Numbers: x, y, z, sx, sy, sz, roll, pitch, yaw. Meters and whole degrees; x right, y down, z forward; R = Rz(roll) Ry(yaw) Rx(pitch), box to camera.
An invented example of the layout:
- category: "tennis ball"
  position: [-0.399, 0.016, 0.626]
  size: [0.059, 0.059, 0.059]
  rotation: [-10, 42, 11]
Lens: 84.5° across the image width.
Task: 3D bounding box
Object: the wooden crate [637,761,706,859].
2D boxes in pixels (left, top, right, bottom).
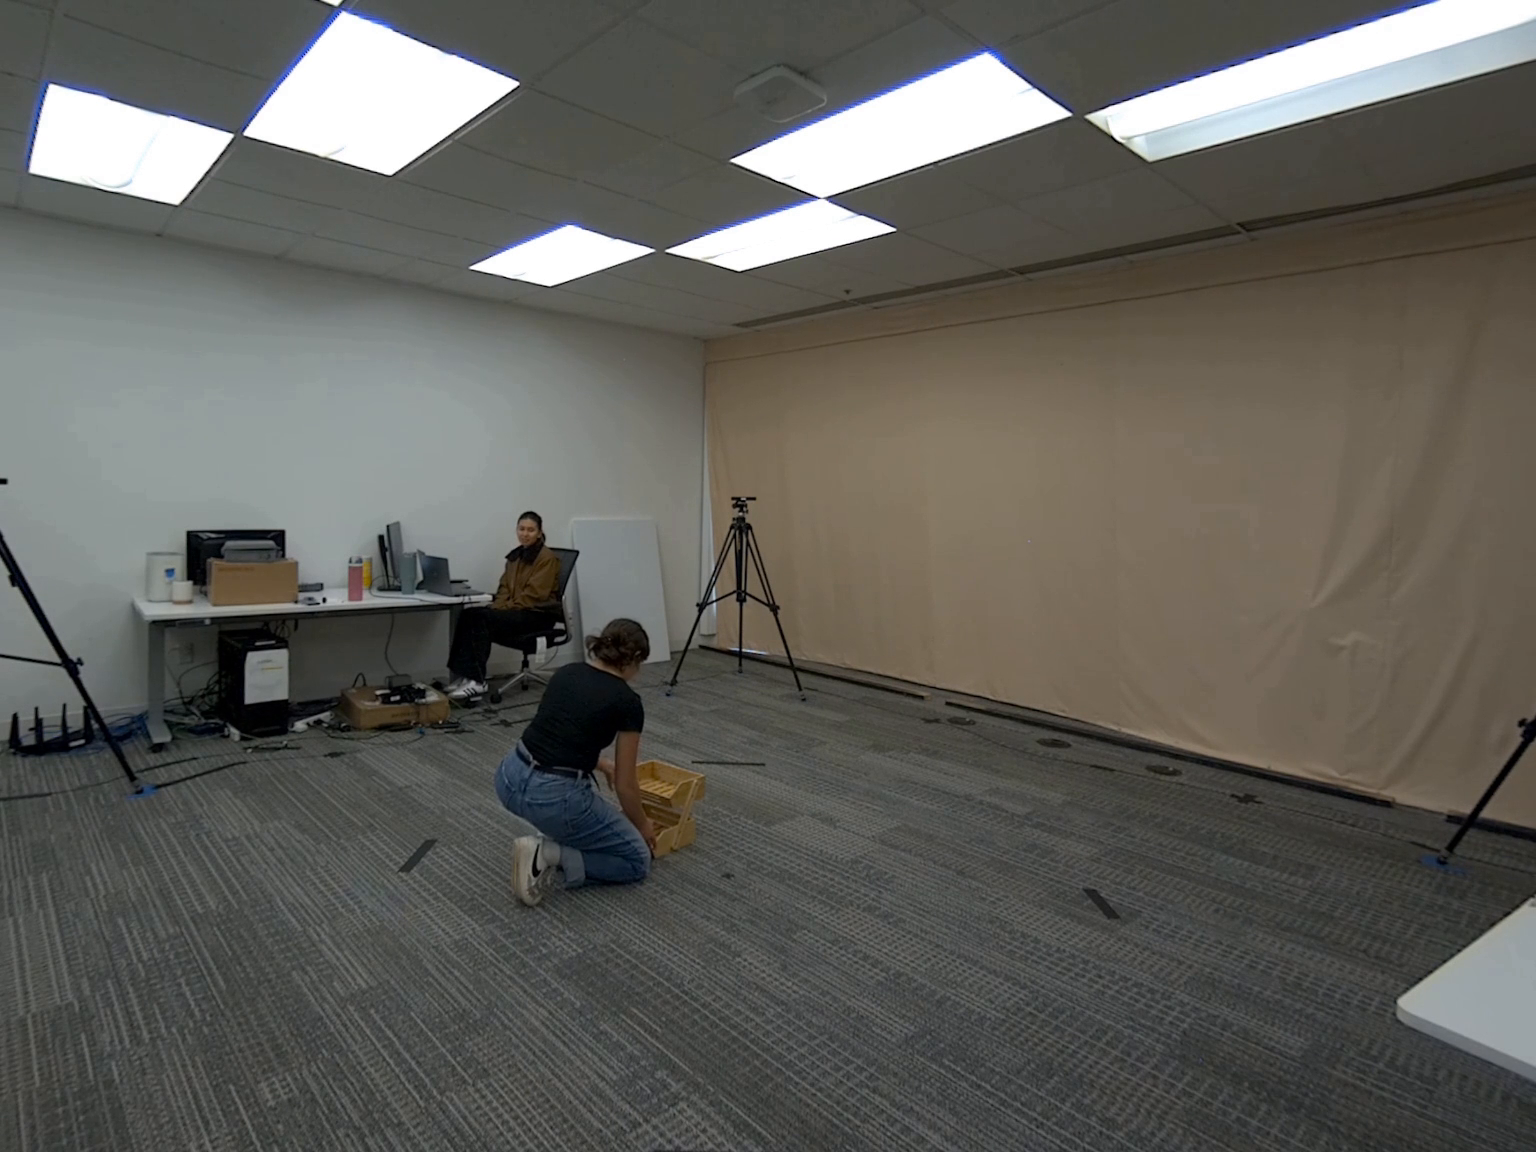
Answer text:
- category: "wooden crate"
  position: [-0.480, 0.938, 3.428]
  size: [0.332, 0.273, 0.295]
  rotation: [4, 4, 39]
